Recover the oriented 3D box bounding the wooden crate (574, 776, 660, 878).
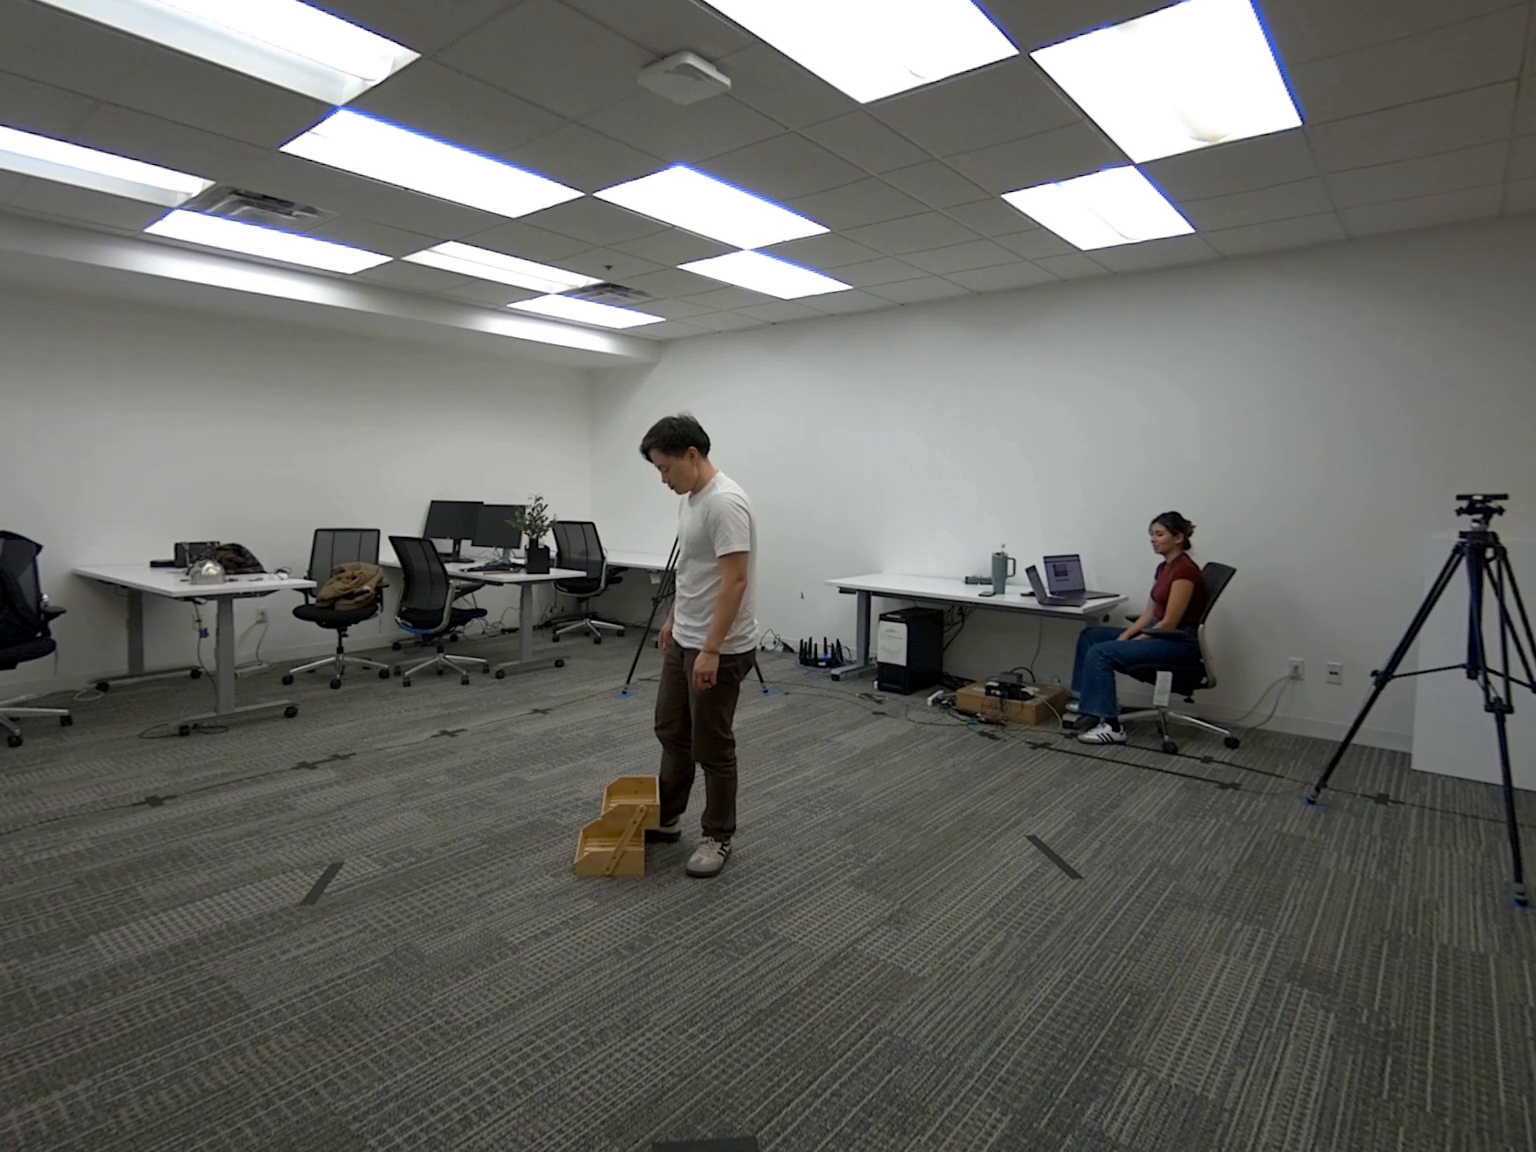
[{"bbox_3d":[-0.573,0.924,3.174,0.300,0.272,0.327,1,4,-6],"label":"wooden crate"}]
